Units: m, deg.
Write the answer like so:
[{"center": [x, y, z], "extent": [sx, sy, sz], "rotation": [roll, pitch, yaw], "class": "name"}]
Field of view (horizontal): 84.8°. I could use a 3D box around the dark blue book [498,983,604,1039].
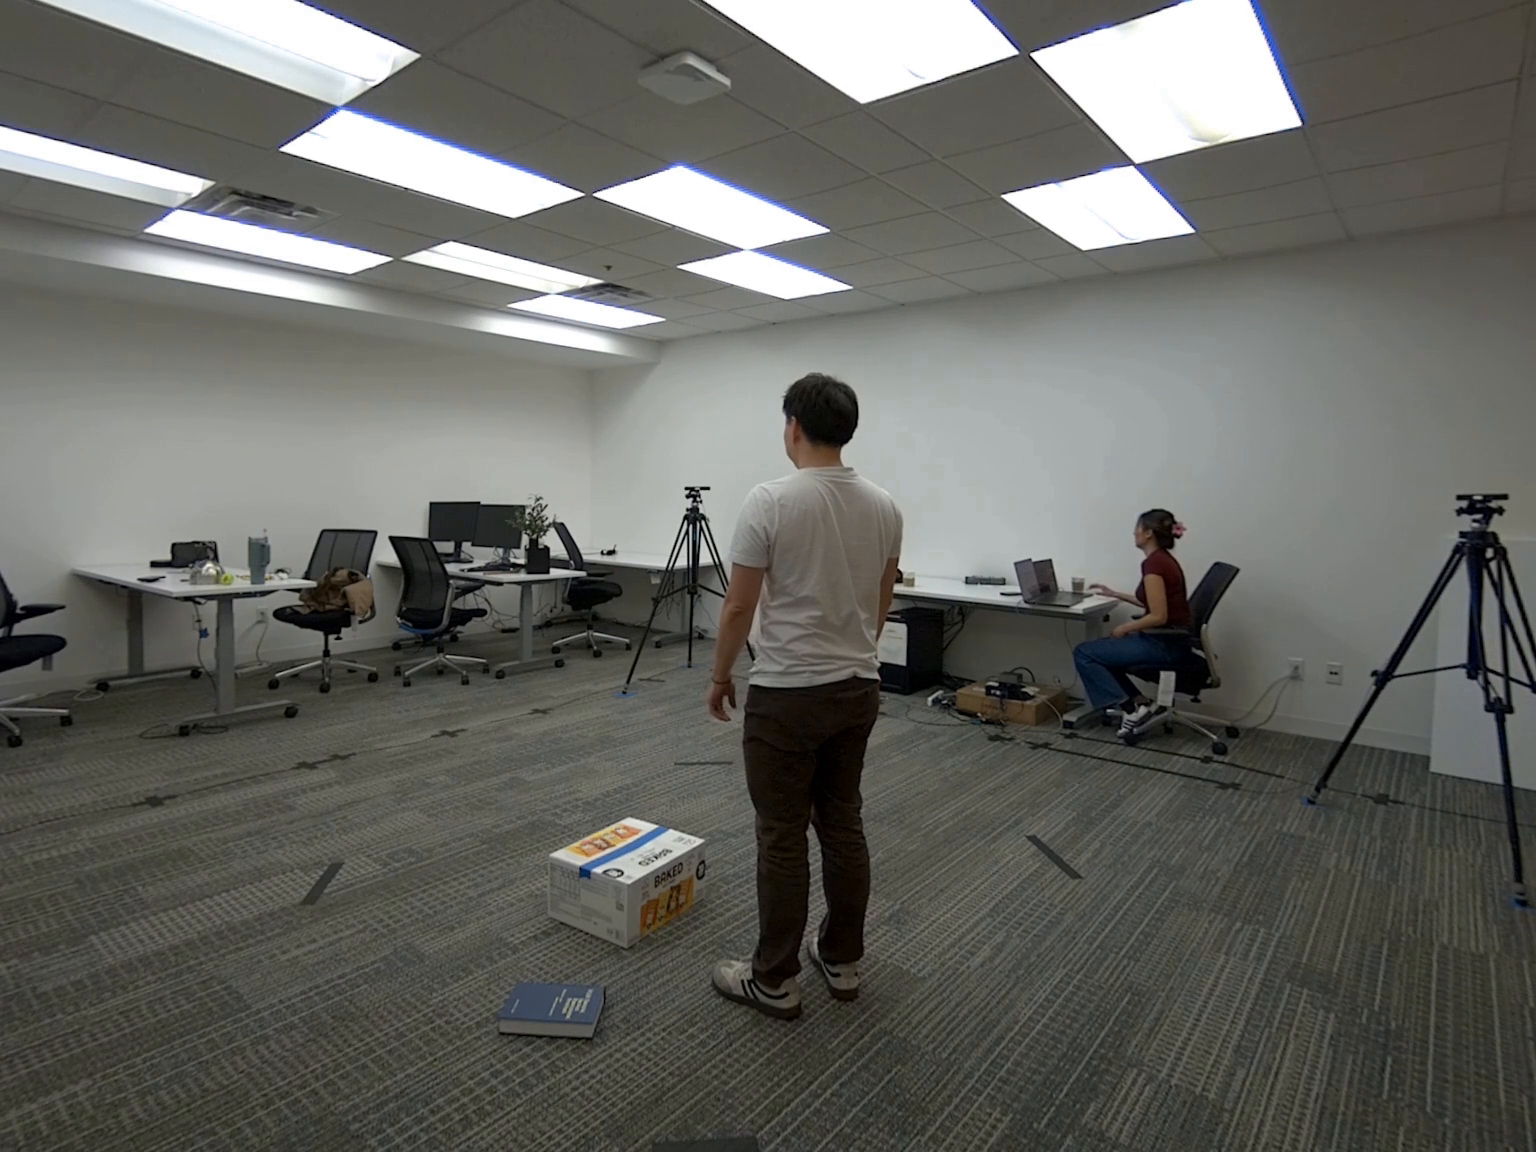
[{"center": [-0.567, 1.127, 2.219], "extent": [0.246, 0.045, 0.163], "rotation": [1, 6, 3], "class": "dark blue book"}]
